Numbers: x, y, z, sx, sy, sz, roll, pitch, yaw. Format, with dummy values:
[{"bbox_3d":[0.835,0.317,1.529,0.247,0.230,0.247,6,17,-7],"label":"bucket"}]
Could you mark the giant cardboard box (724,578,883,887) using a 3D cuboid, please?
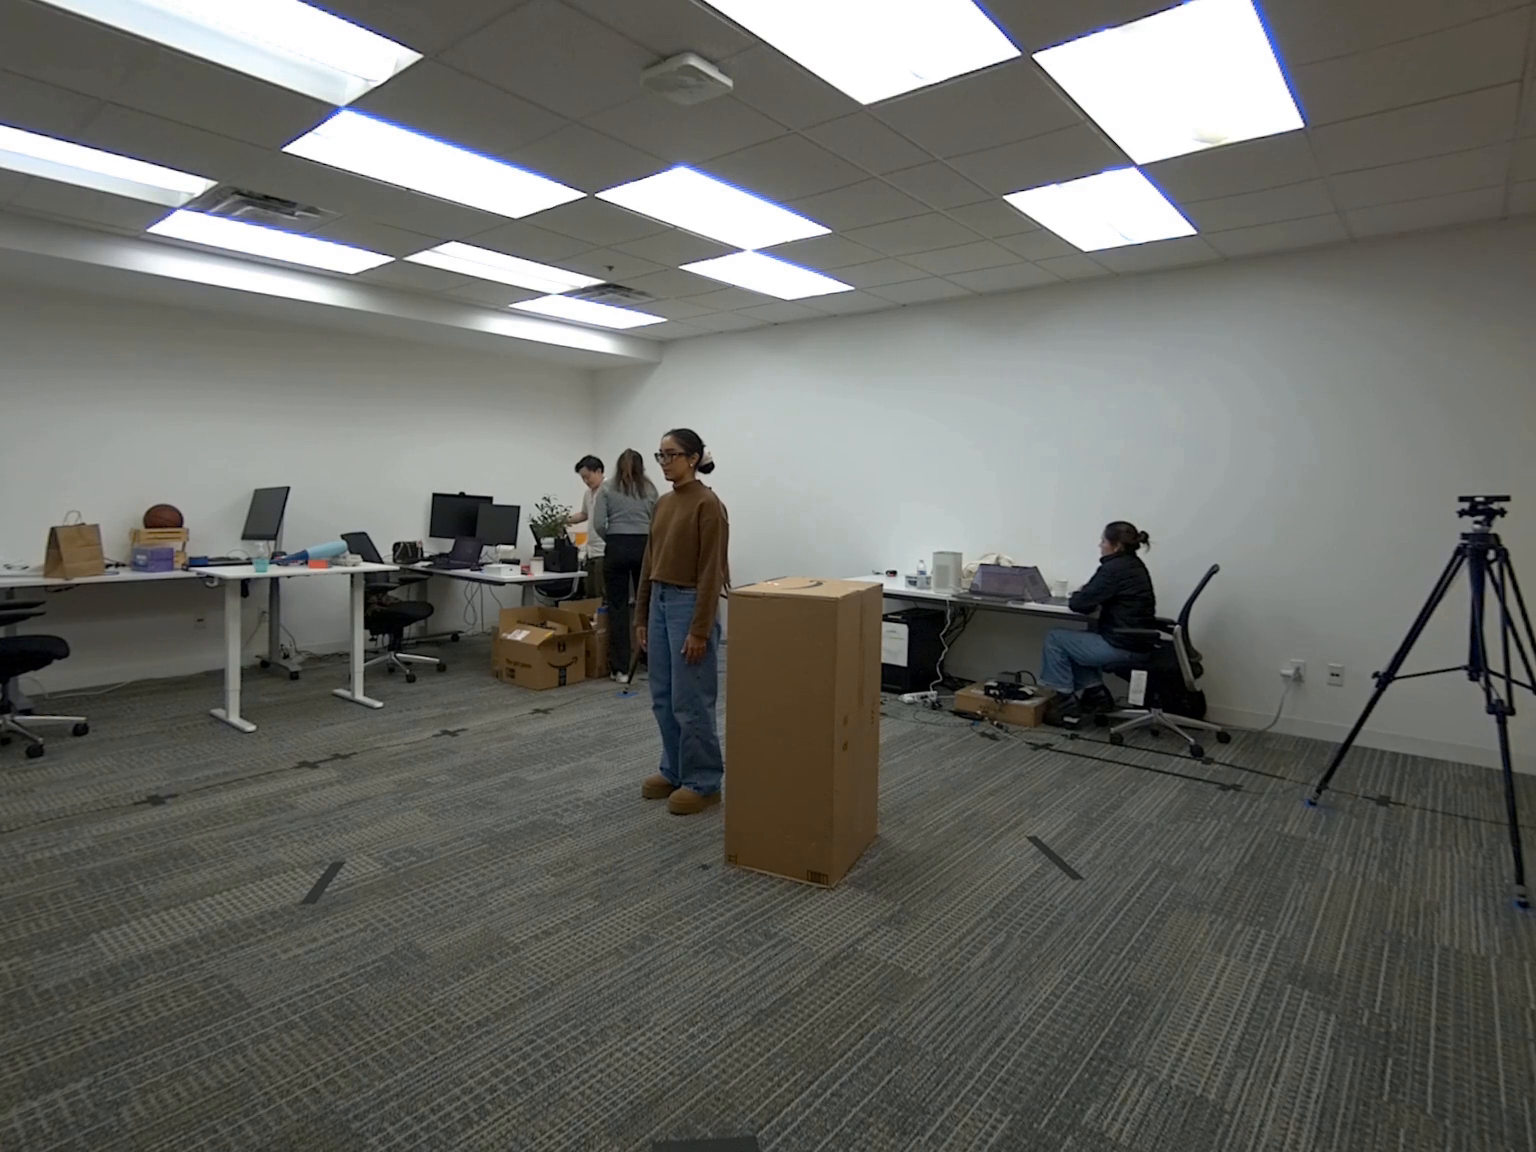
[{"bbox_3d":[0.140,0.547,3.272,0.437,1.023,0.565,2,4,24],"label":"giant cardboard box"}]
